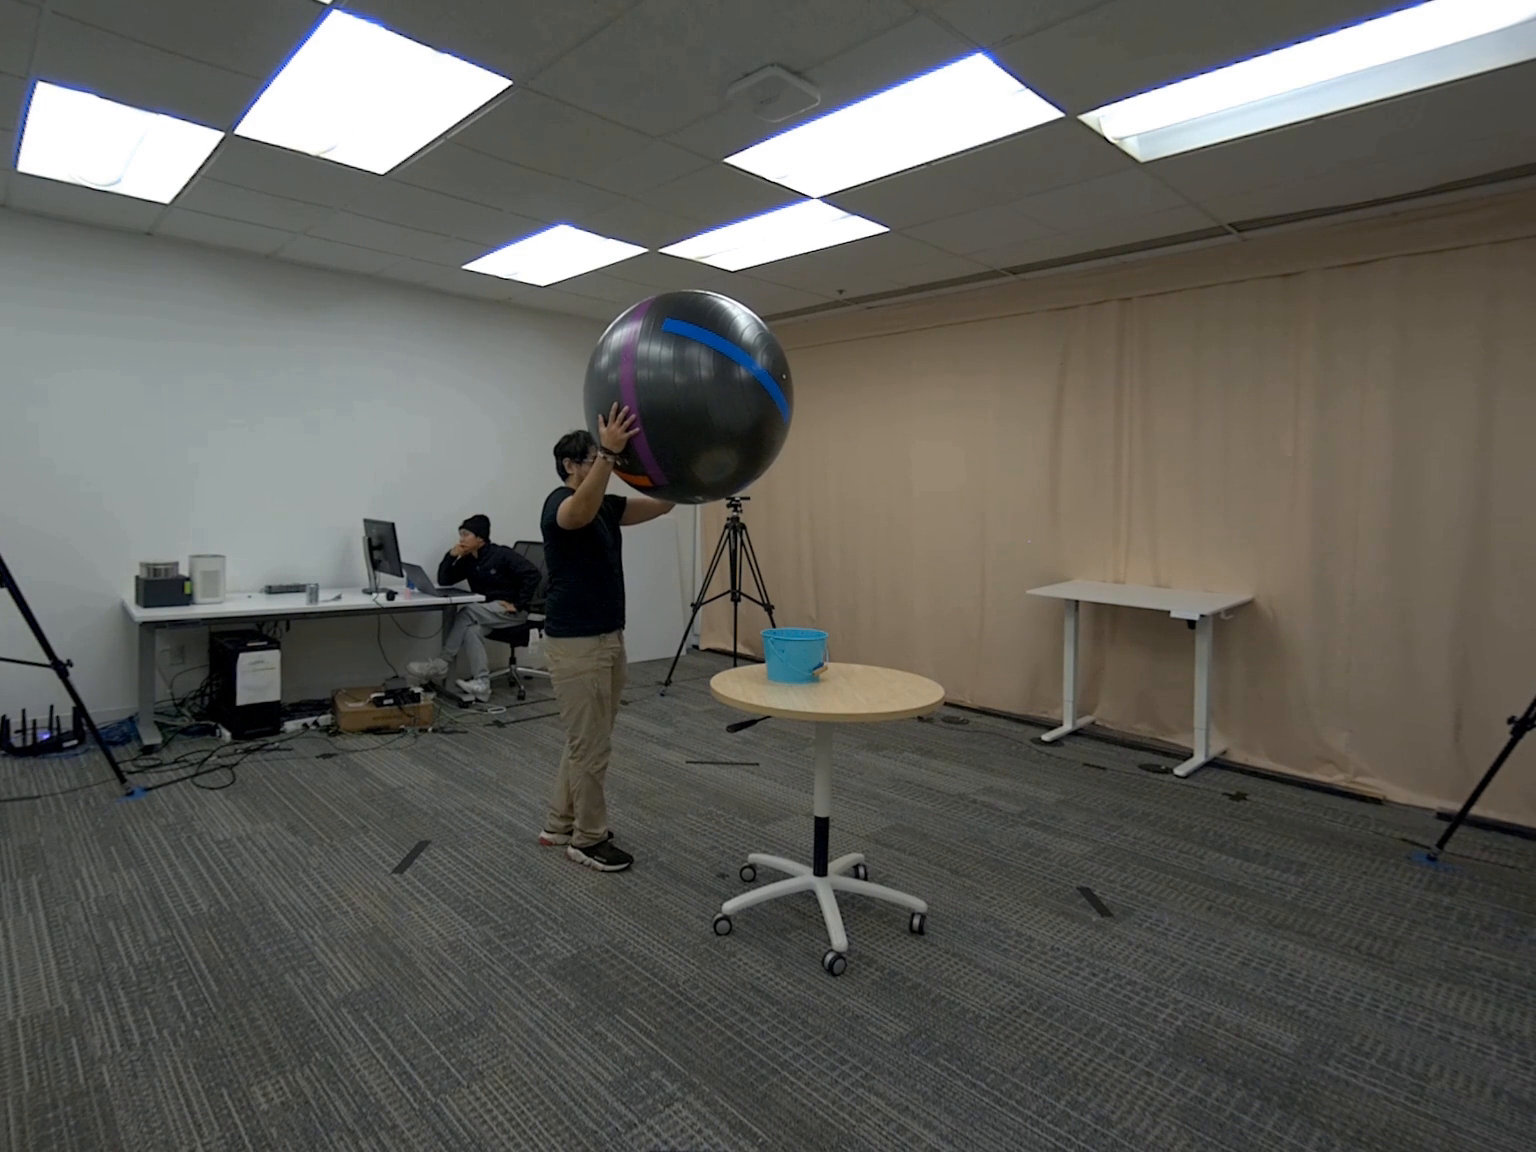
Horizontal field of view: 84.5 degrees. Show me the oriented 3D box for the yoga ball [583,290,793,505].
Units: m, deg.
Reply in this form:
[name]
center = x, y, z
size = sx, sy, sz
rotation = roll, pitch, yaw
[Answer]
[yoga ball]
center = -0.287, -0.633, 3.039
size = 0.757, 0.756, 0.761
rotation = 1, 4, -1
